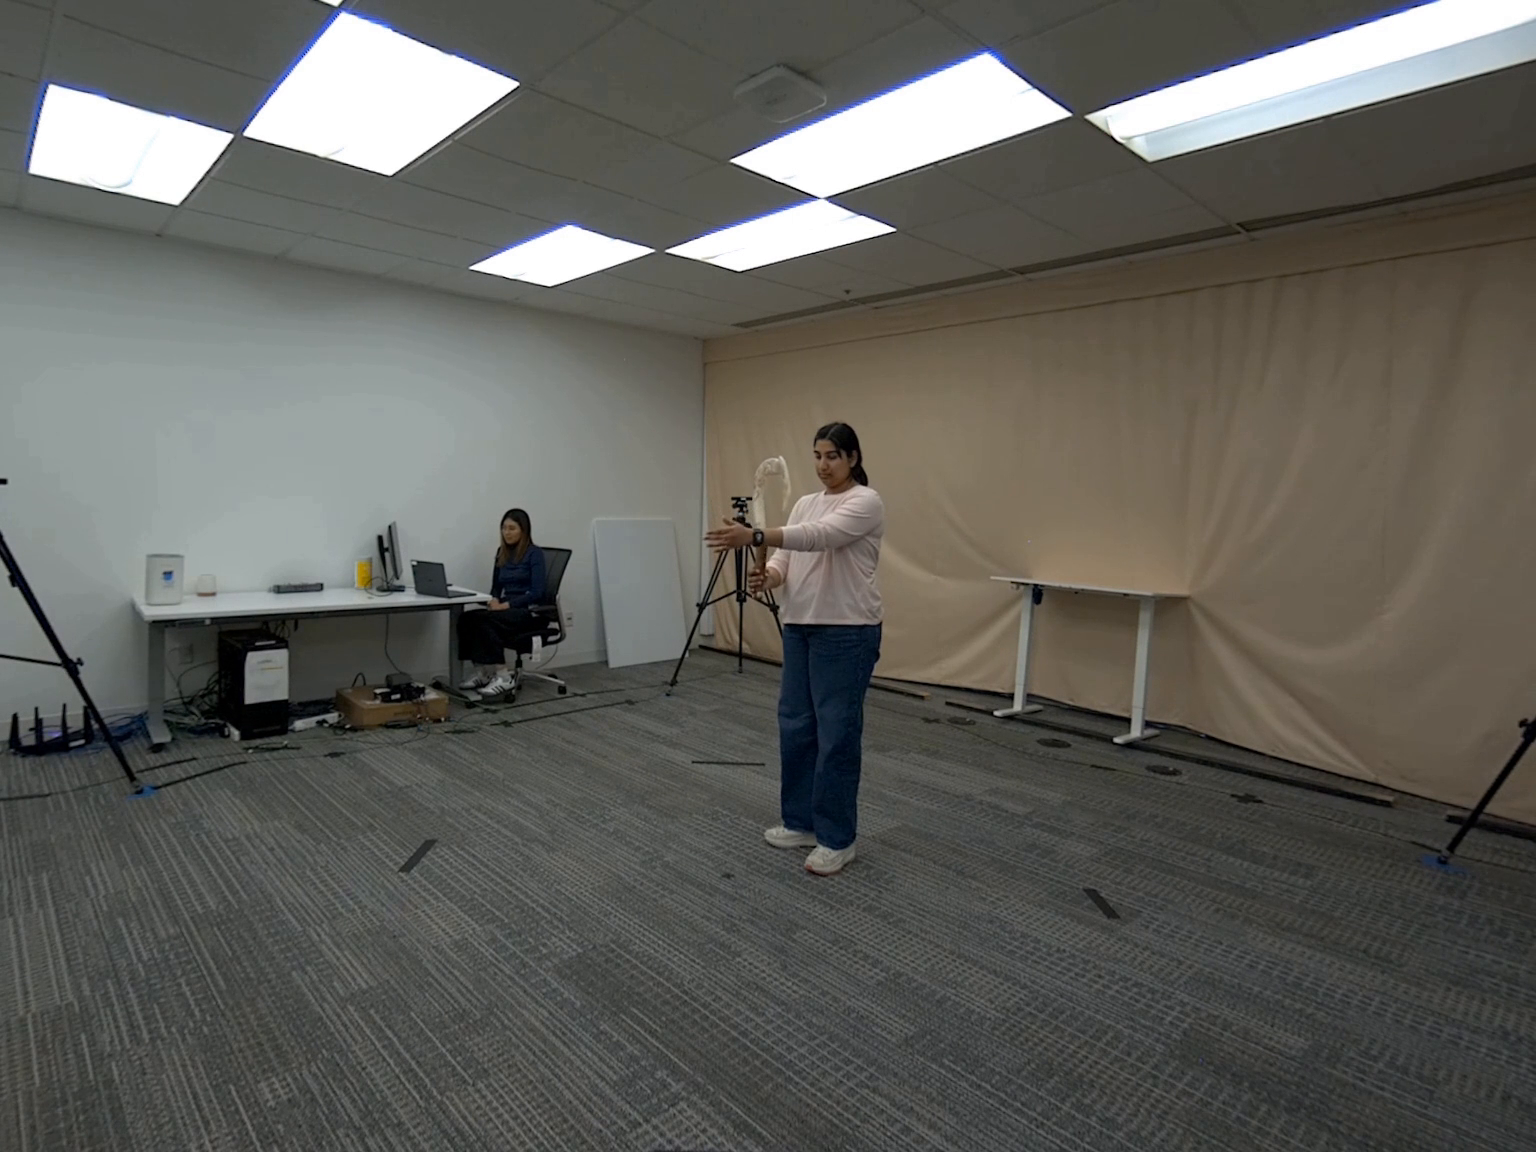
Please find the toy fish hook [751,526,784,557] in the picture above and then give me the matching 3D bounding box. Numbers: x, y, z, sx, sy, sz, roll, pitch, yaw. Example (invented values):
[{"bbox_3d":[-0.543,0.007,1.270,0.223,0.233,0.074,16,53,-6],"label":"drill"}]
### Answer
[{"bbox_3d":[-0.002,-0.167,2.975,0.047,0.508,0.229,4,-5,-30],"label":"toy fish hook"}]
